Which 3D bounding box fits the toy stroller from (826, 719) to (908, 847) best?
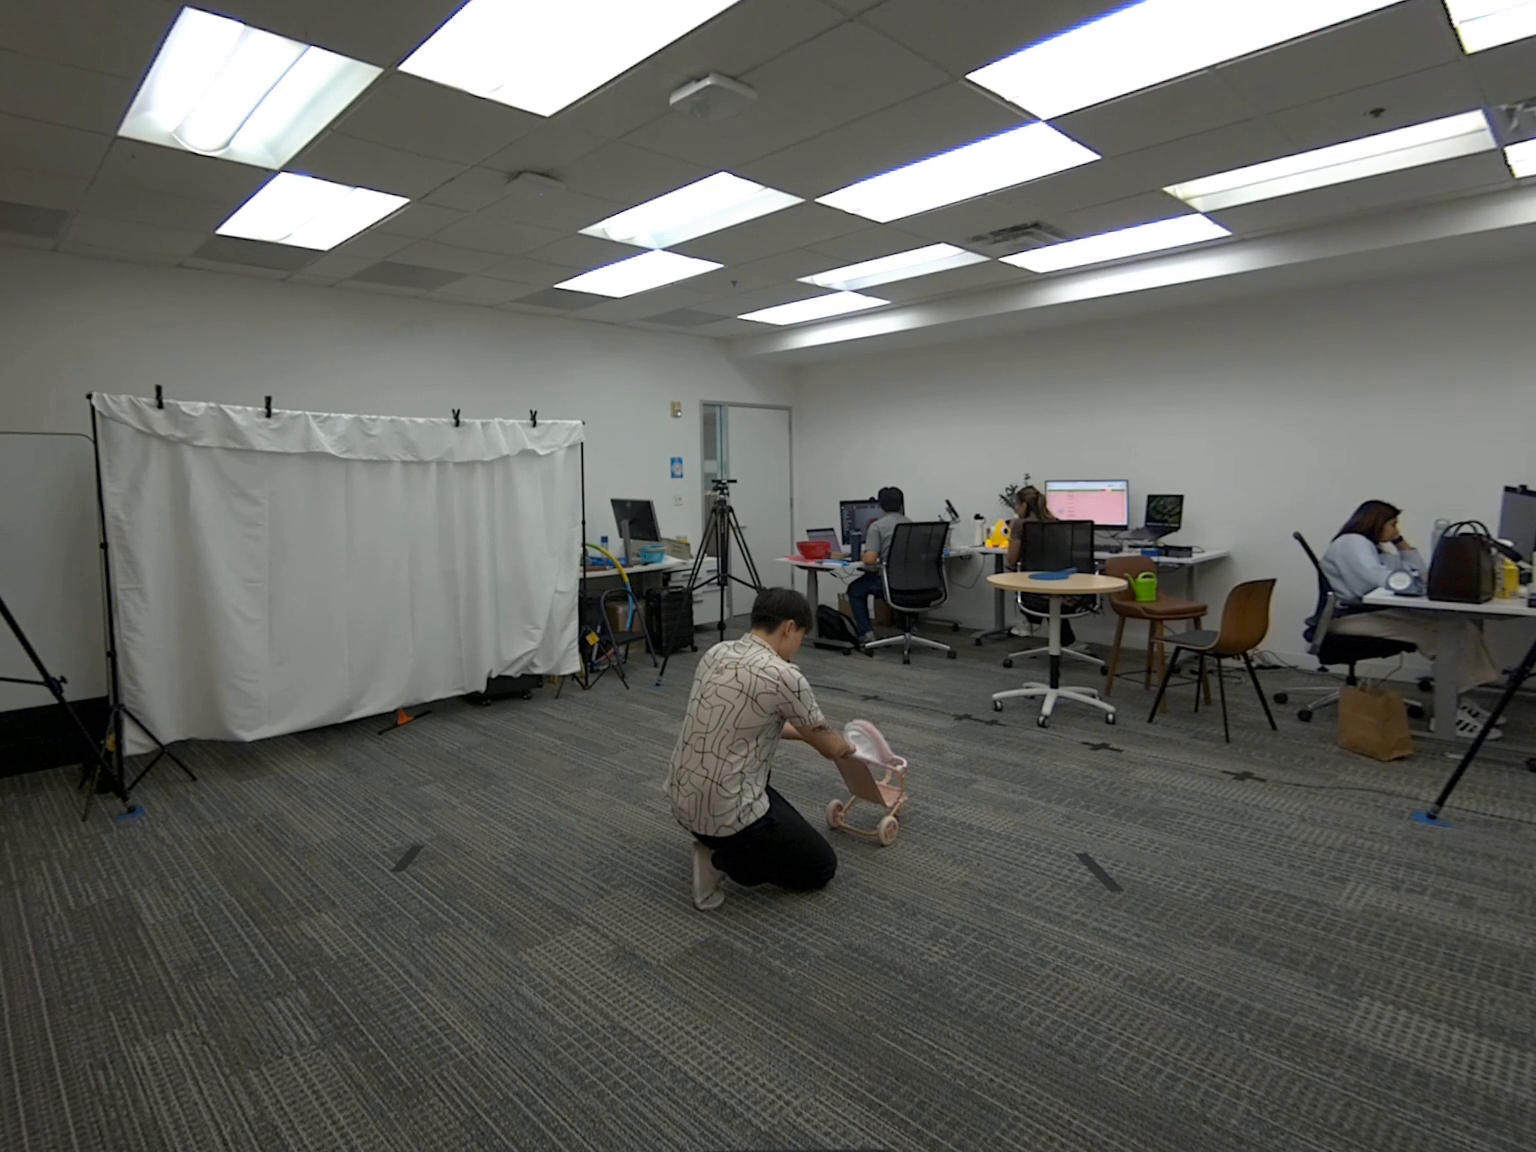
[{"bbox_3d":[0.397,0.789,3.360,0.290,0.524,0.337,6,28,46],"label":"toy stroller"}]
